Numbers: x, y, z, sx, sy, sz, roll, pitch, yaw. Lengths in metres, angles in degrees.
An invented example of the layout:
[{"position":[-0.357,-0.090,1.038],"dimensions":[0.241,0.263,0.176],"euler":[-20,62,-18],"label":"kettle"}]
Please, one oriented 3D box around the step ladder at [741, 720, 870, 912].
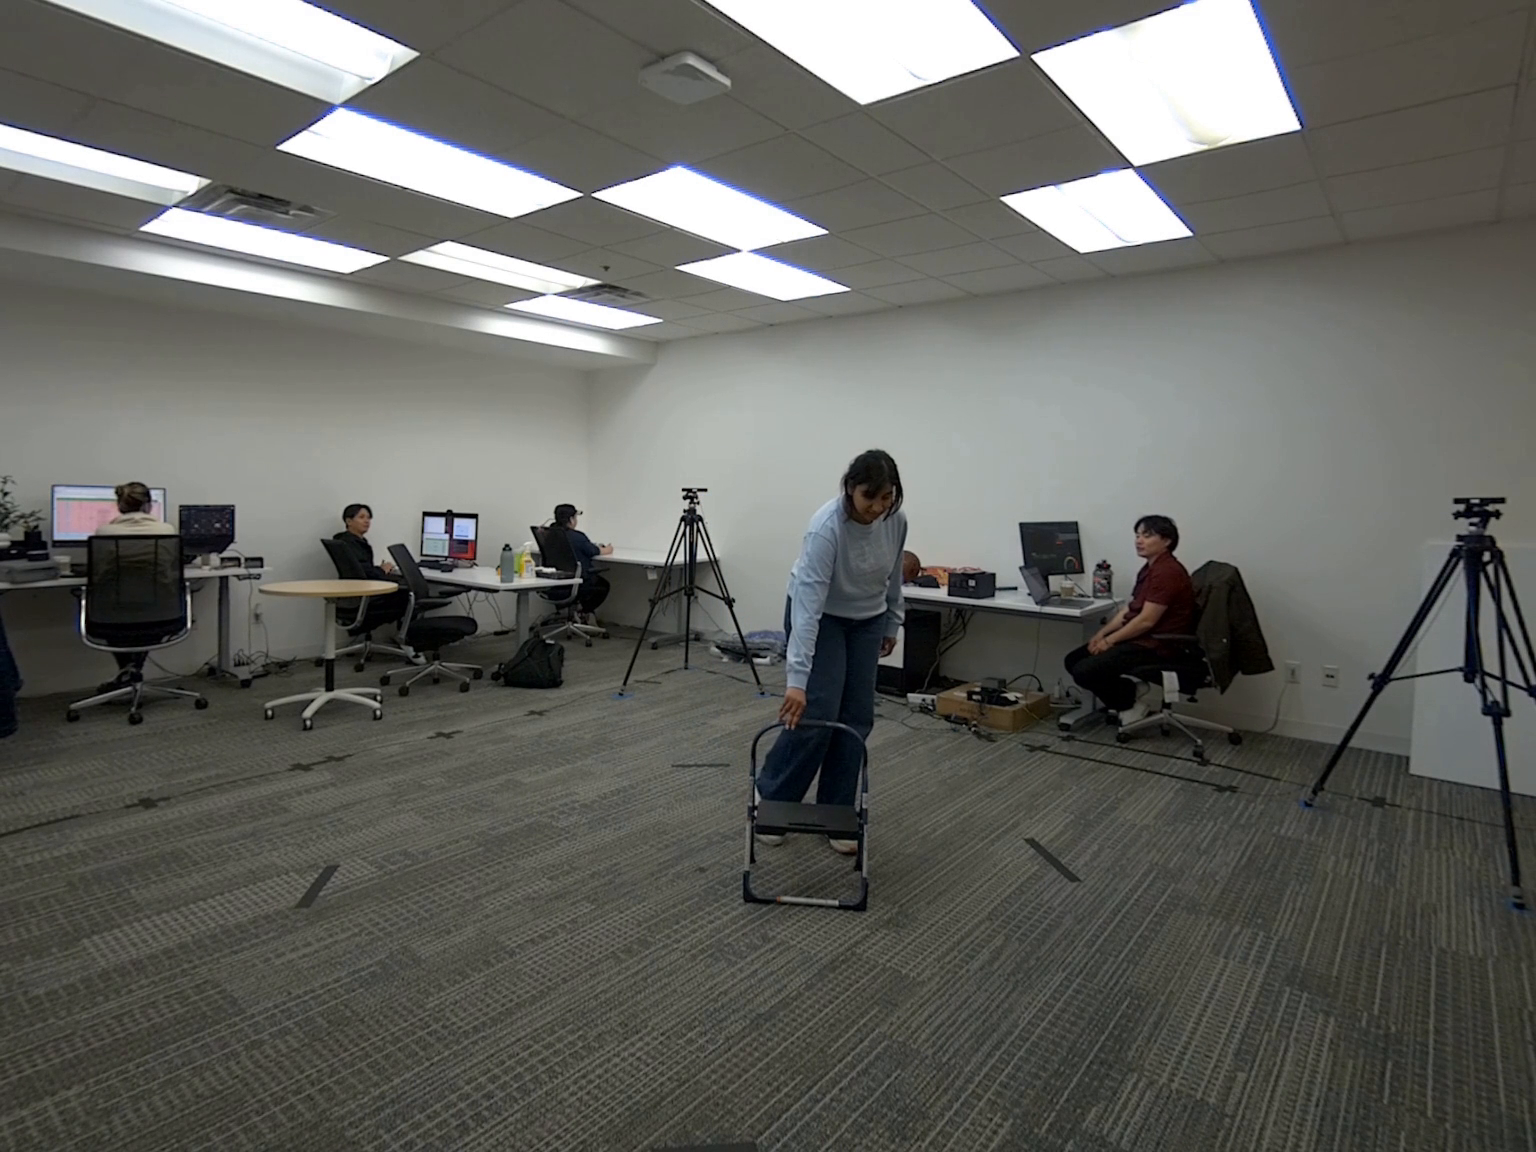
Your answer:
[{"position":[0.127,0.787,2.996],"dimensions":[0.433,0.605,0.348],"euler":[1,2,4],"label":"step ladder"}]
